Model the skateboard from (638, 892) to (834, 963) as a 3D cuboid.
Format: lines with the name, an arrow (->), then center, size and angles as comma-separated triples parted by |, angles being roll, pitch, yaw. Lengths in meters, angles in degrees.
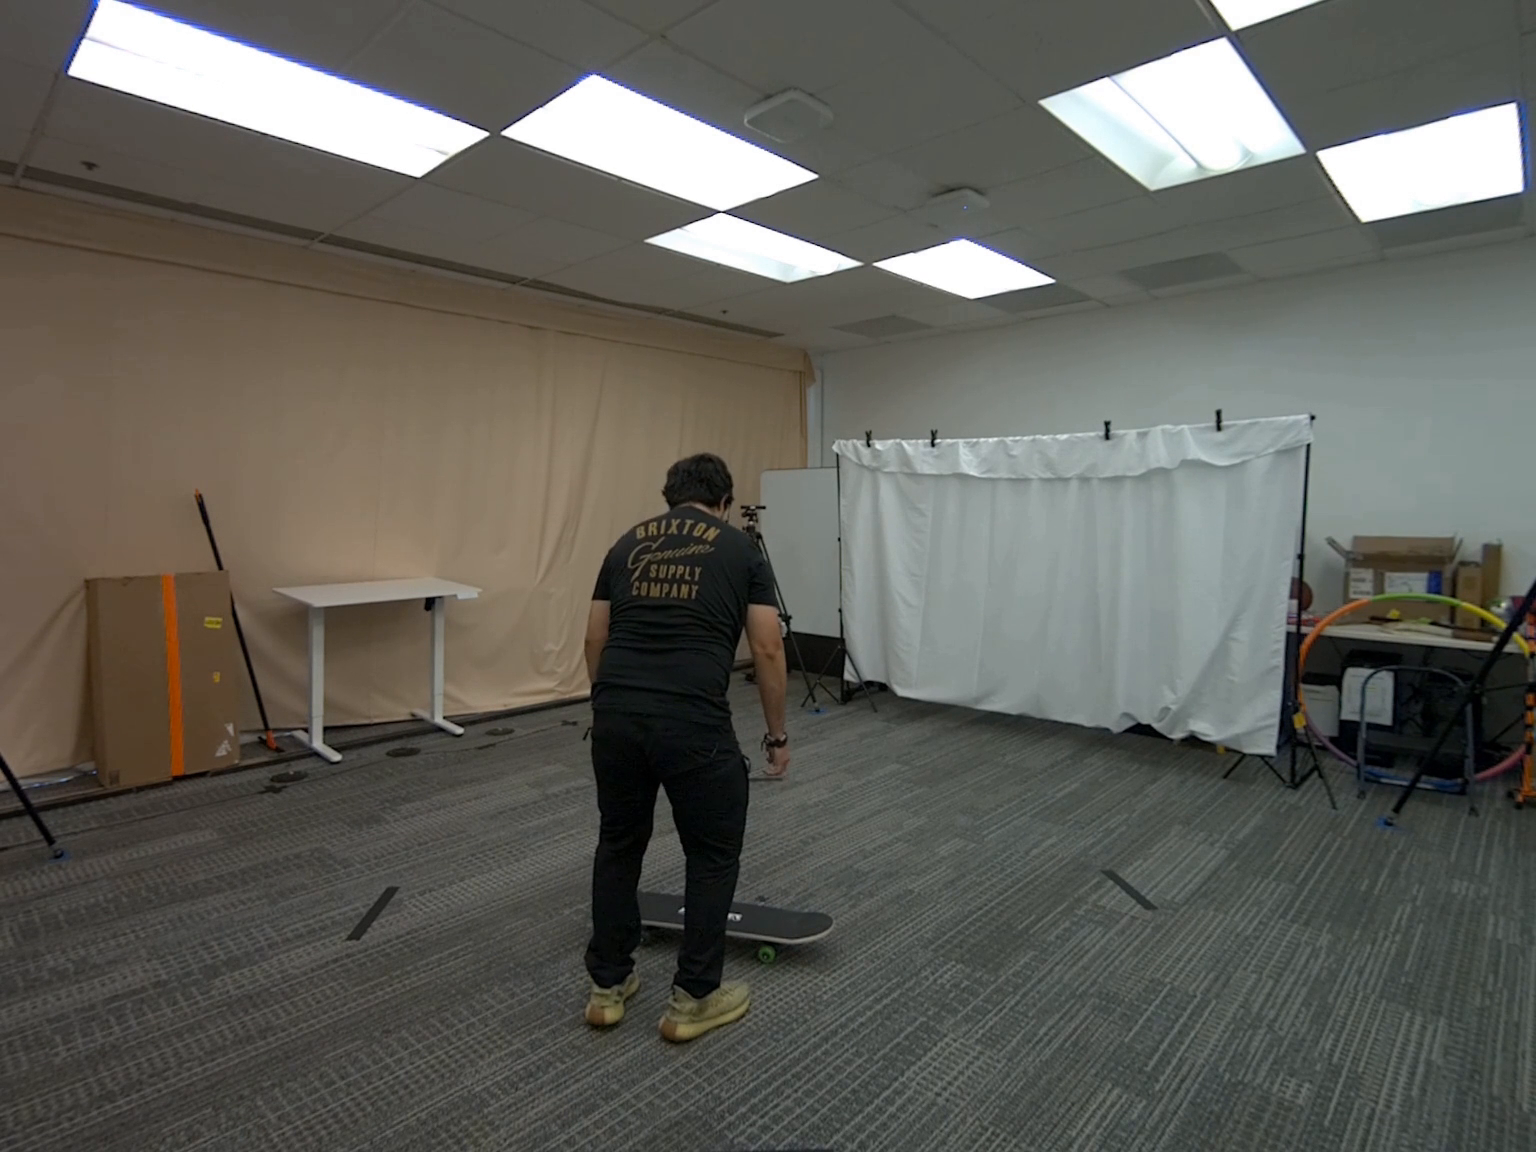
skateboard -> -0.181, 1.112, 2.696 | 0.799, 0.110, 0.190 | 0, 4, 16
